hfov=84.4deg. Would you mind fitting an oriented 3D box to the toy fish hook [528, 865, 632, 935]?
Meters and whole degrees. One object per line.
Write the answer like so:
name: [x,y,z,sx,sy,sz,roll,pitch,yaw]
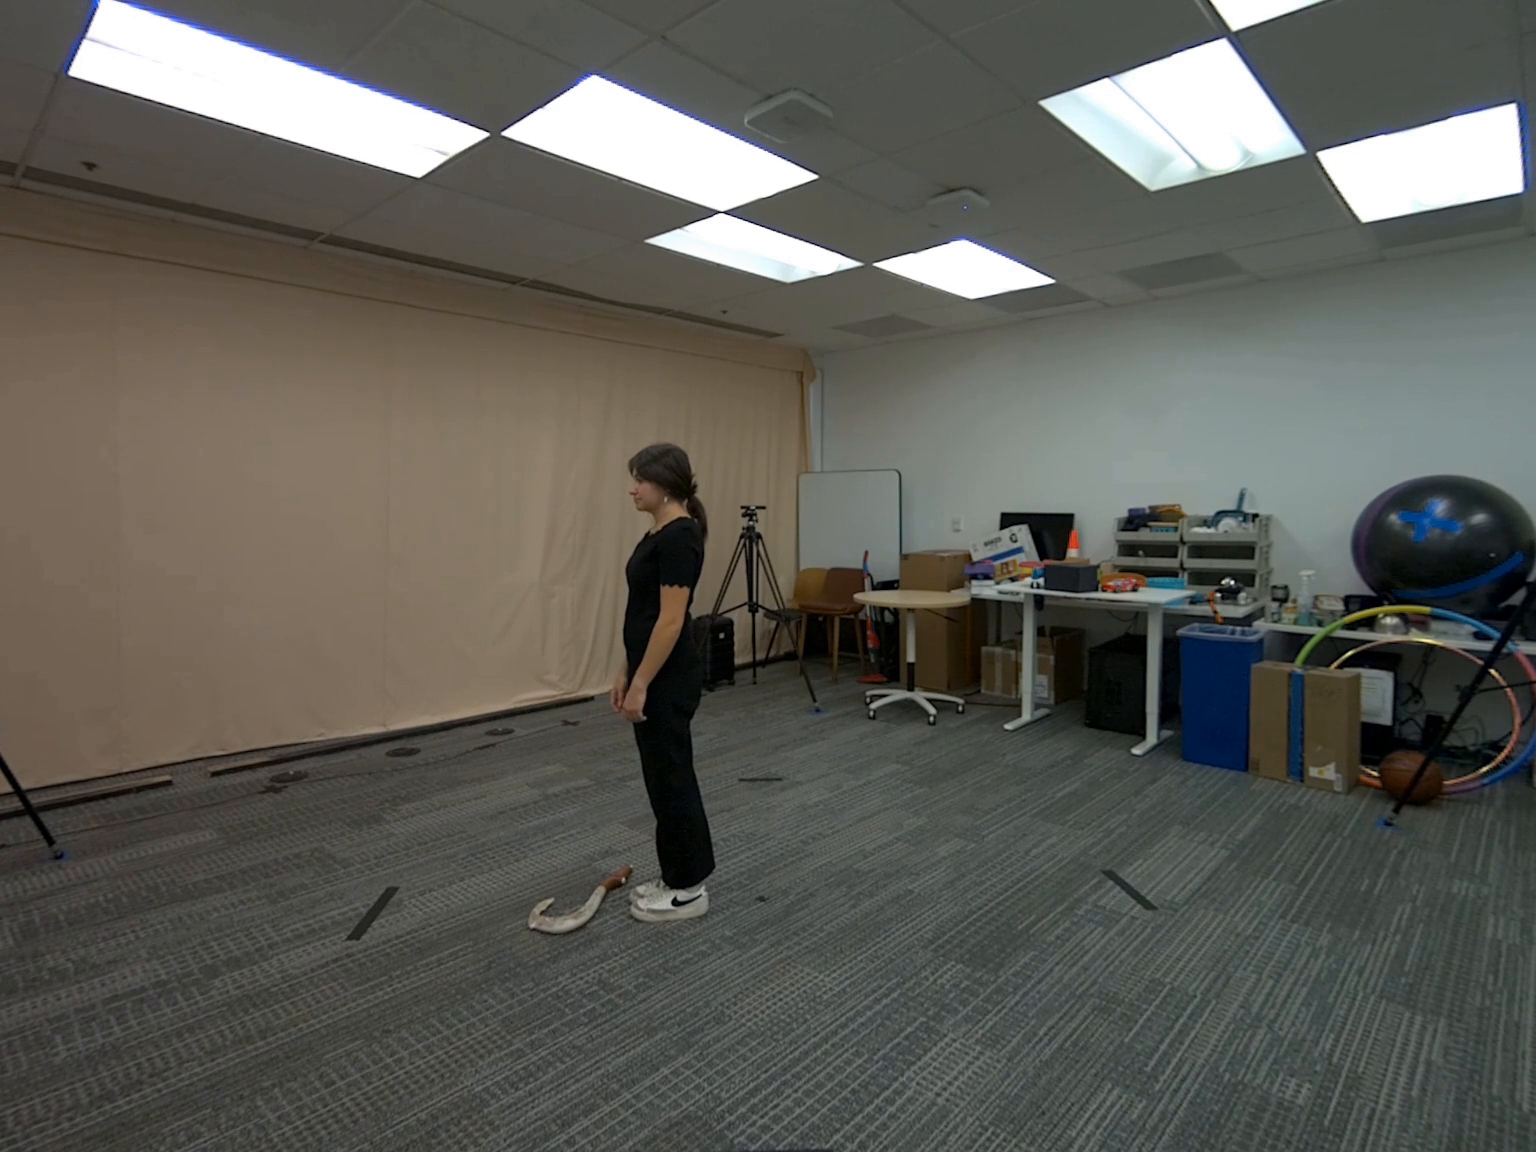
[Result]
toy fish hook: [-0.655,1.126,2.976,0.230,0.048,0.496,3,5,21]
